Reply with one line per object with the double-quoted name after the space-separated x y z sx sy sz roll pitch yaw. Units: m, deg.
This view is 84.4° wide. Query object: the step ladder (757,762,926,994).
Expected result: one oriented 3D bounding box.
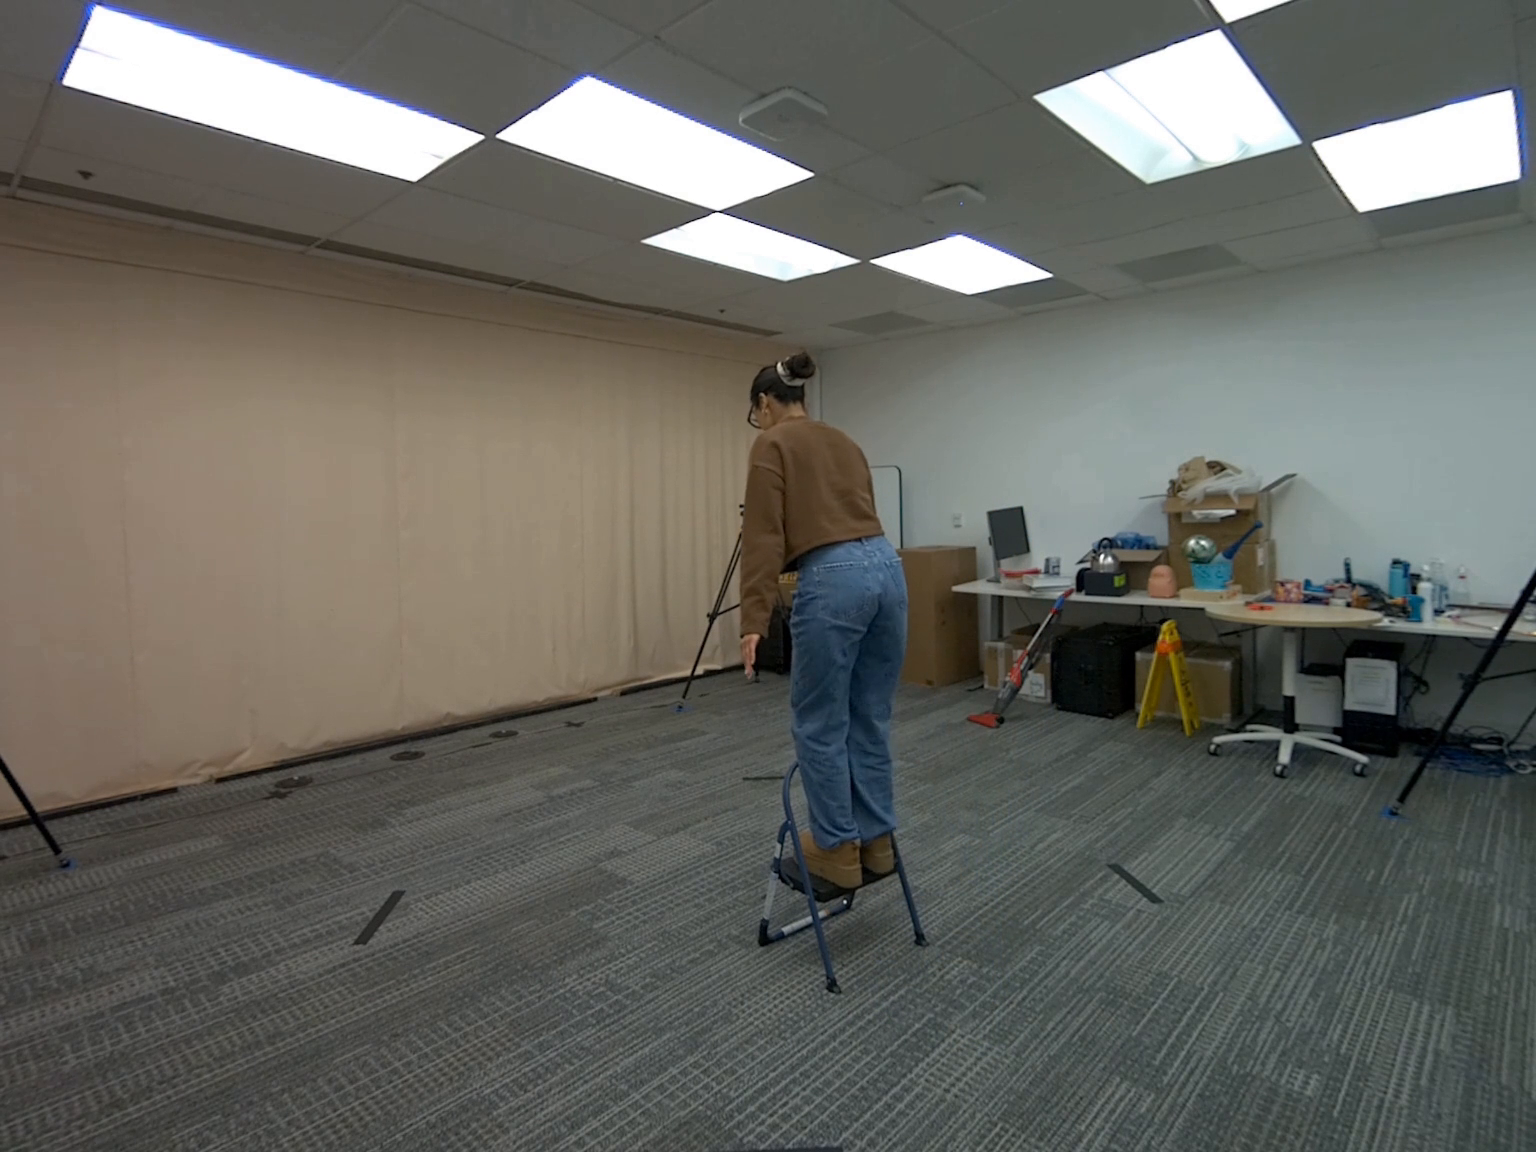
0.232 0.865 2.641 0.418 0.605 0.361 -4 4 -40 "step ladder"
